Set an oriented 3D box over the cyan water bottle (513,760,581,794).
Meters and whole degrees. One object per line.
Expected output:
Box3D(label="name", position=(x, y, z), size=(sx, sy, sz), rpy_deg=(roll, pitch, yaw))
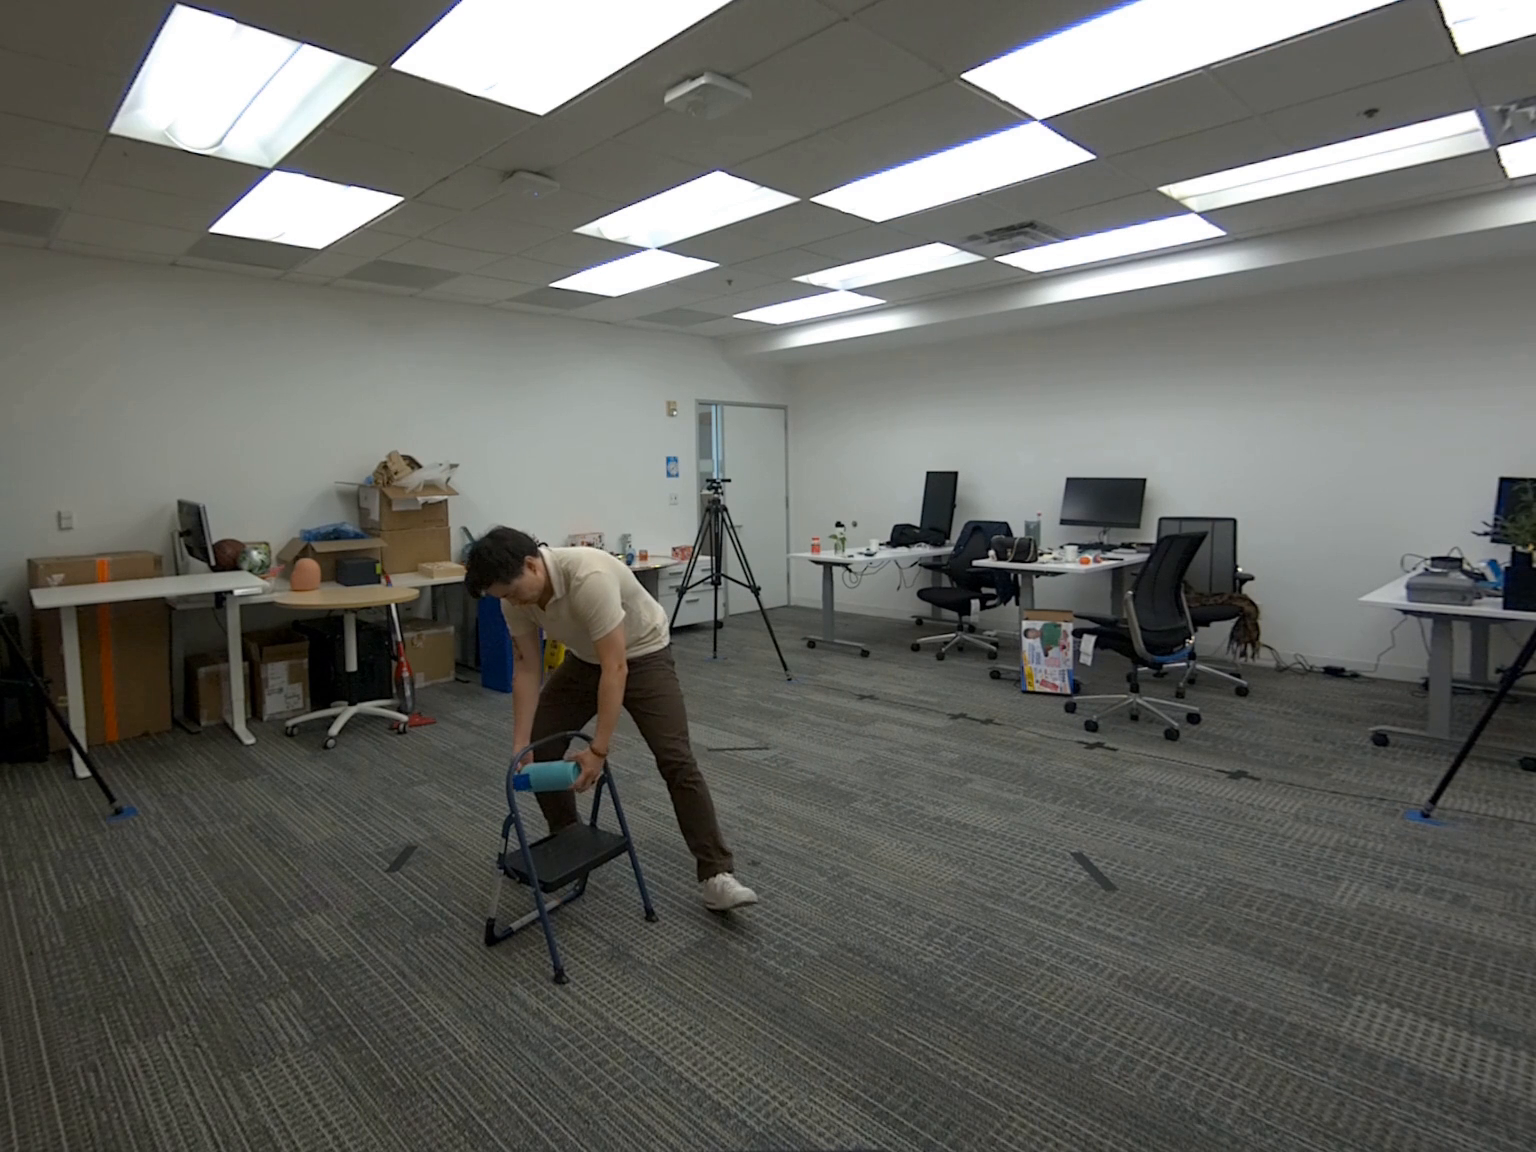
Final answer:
Box3D(label="cyan water bottle", position=(-0.688, 0.636, 2.700), size=(0.289, 0.092, 0.090), rpy_deg=(-11, -1, 32))
